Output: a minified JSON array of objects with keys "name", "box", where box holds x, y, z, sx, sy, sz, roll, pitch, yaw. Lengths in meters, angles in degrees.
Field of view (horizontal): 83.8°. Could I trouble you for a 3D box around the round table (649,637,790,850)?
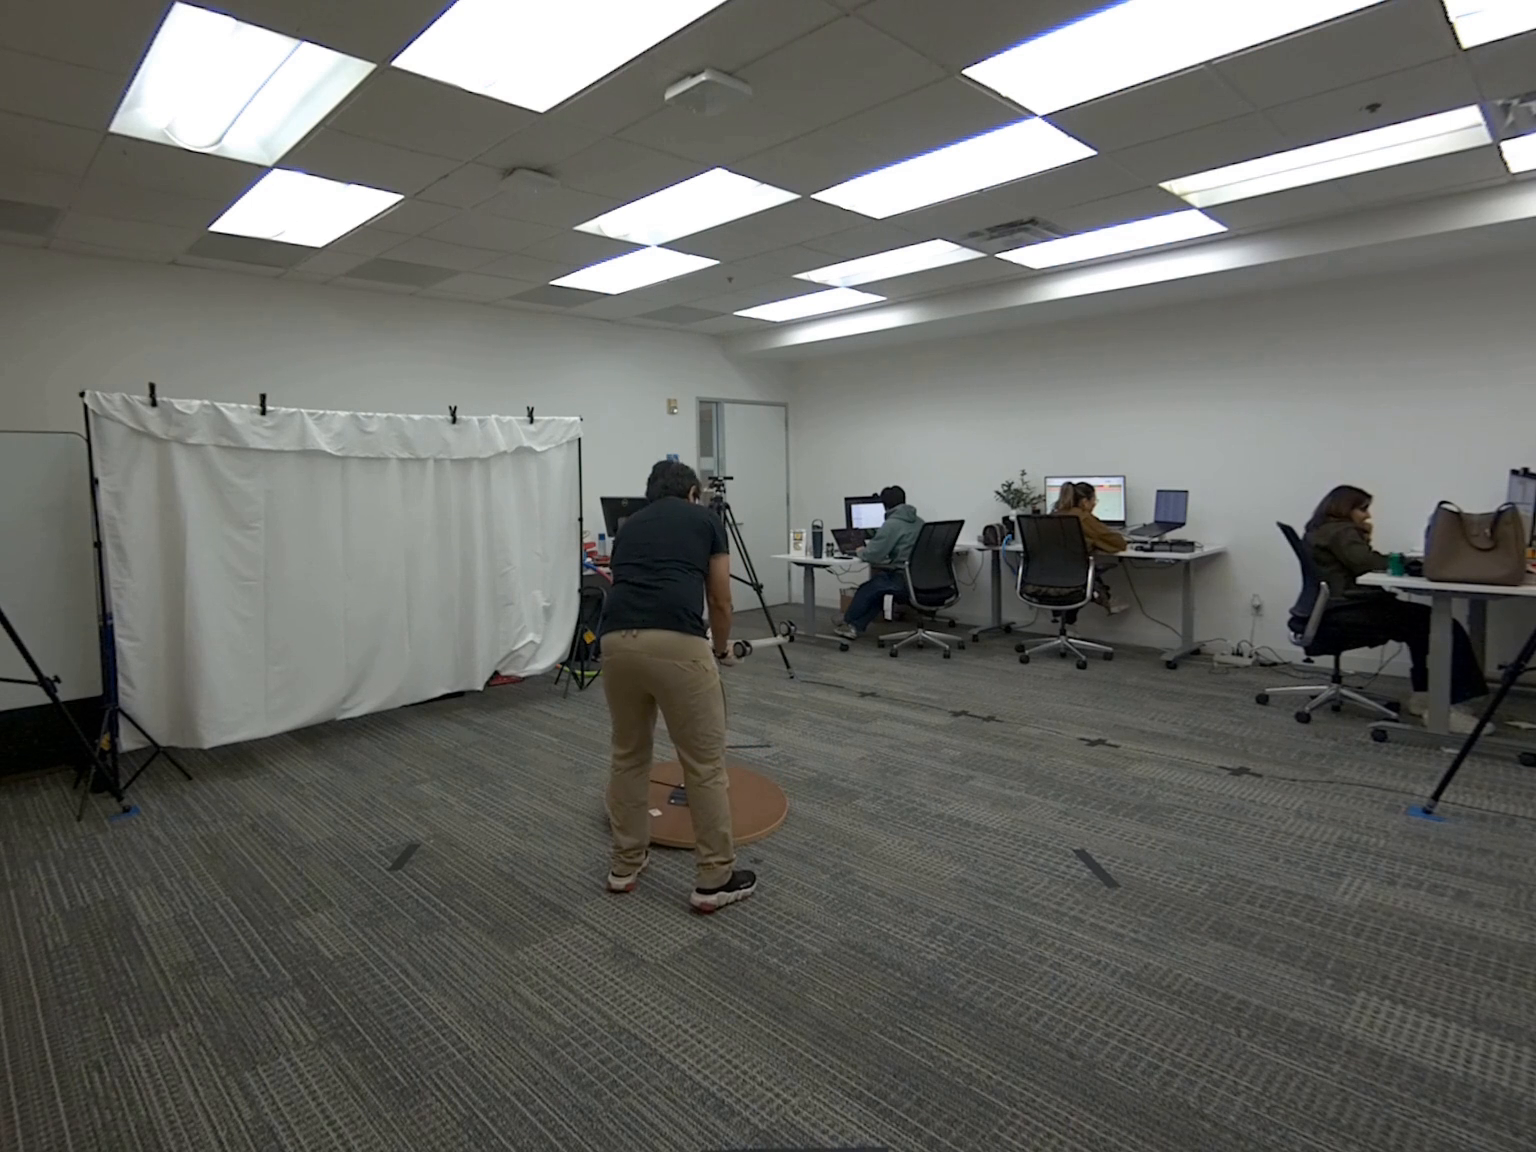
[{"name":"round table","box":[-0.270,0.562,3.537,0.784,0.780,0.793,3,10,-2]}]
